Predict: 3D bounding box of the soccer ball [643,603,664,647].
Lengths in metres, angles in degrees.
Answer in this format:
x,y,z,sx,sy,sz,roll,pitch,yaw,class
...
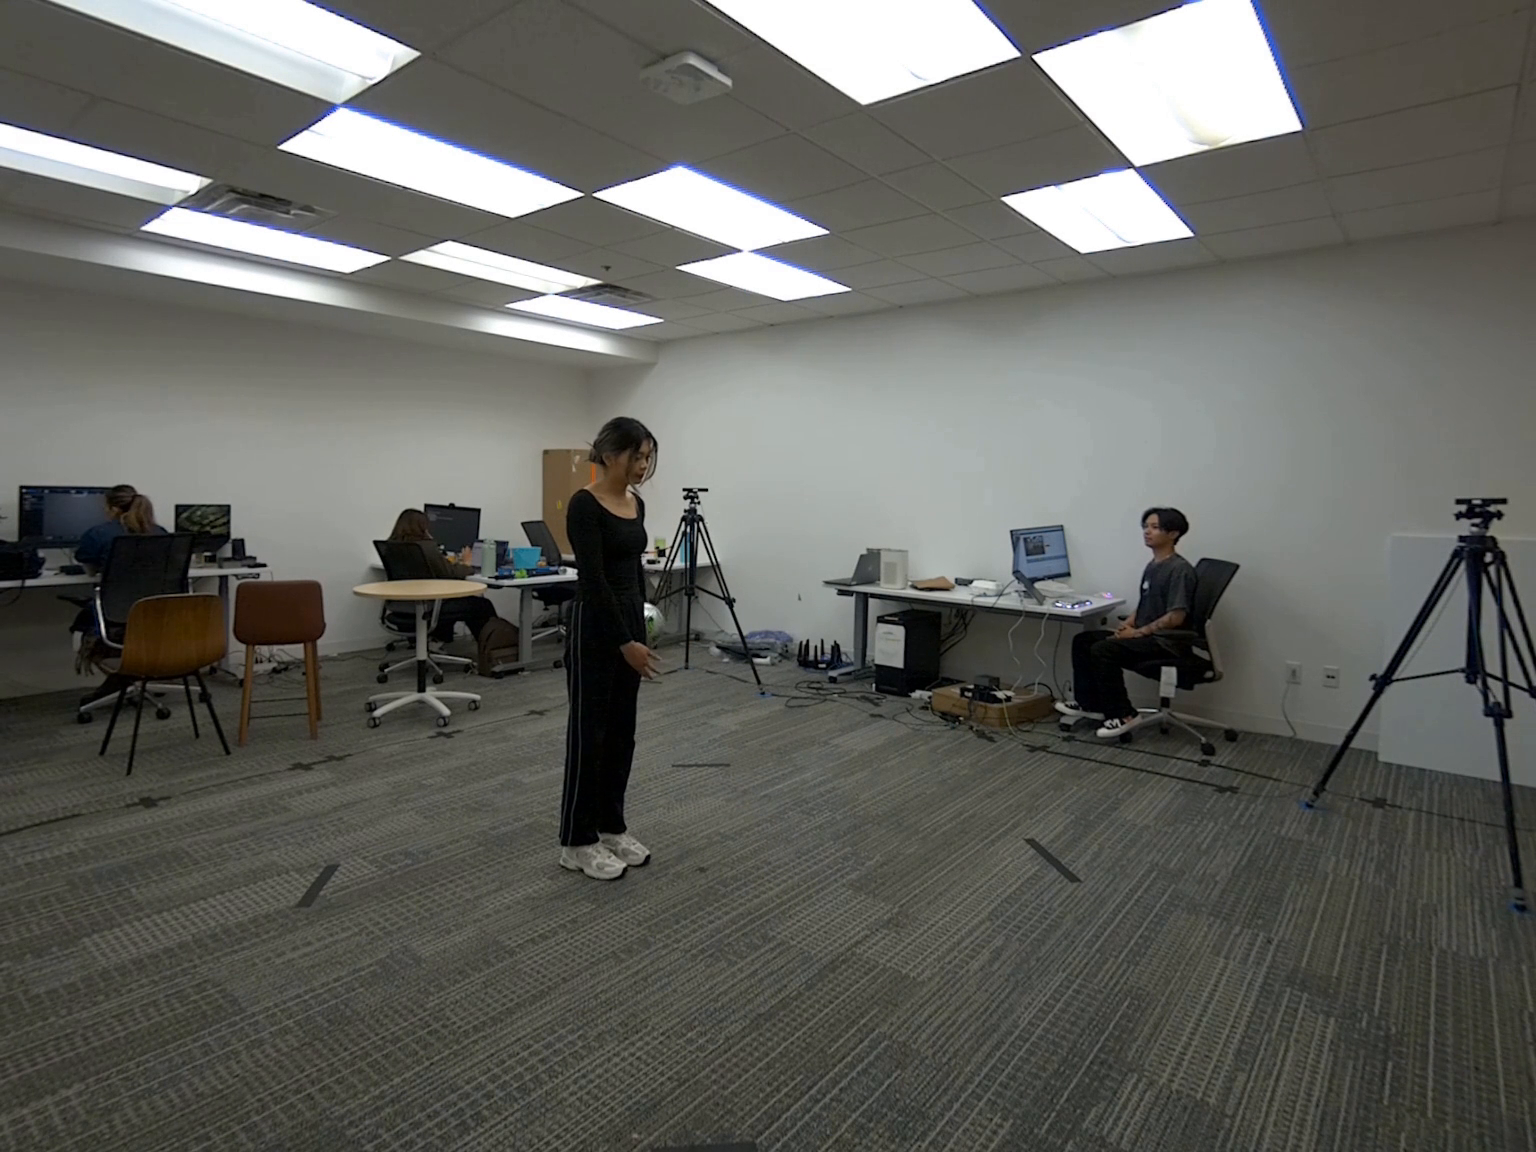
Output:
x,y,z,sx,sy,sz,roll,pitch,yaw,class
-0.503,0.189,3.332,0.187,0.187,0.188,1,4,-2,soccer ball
